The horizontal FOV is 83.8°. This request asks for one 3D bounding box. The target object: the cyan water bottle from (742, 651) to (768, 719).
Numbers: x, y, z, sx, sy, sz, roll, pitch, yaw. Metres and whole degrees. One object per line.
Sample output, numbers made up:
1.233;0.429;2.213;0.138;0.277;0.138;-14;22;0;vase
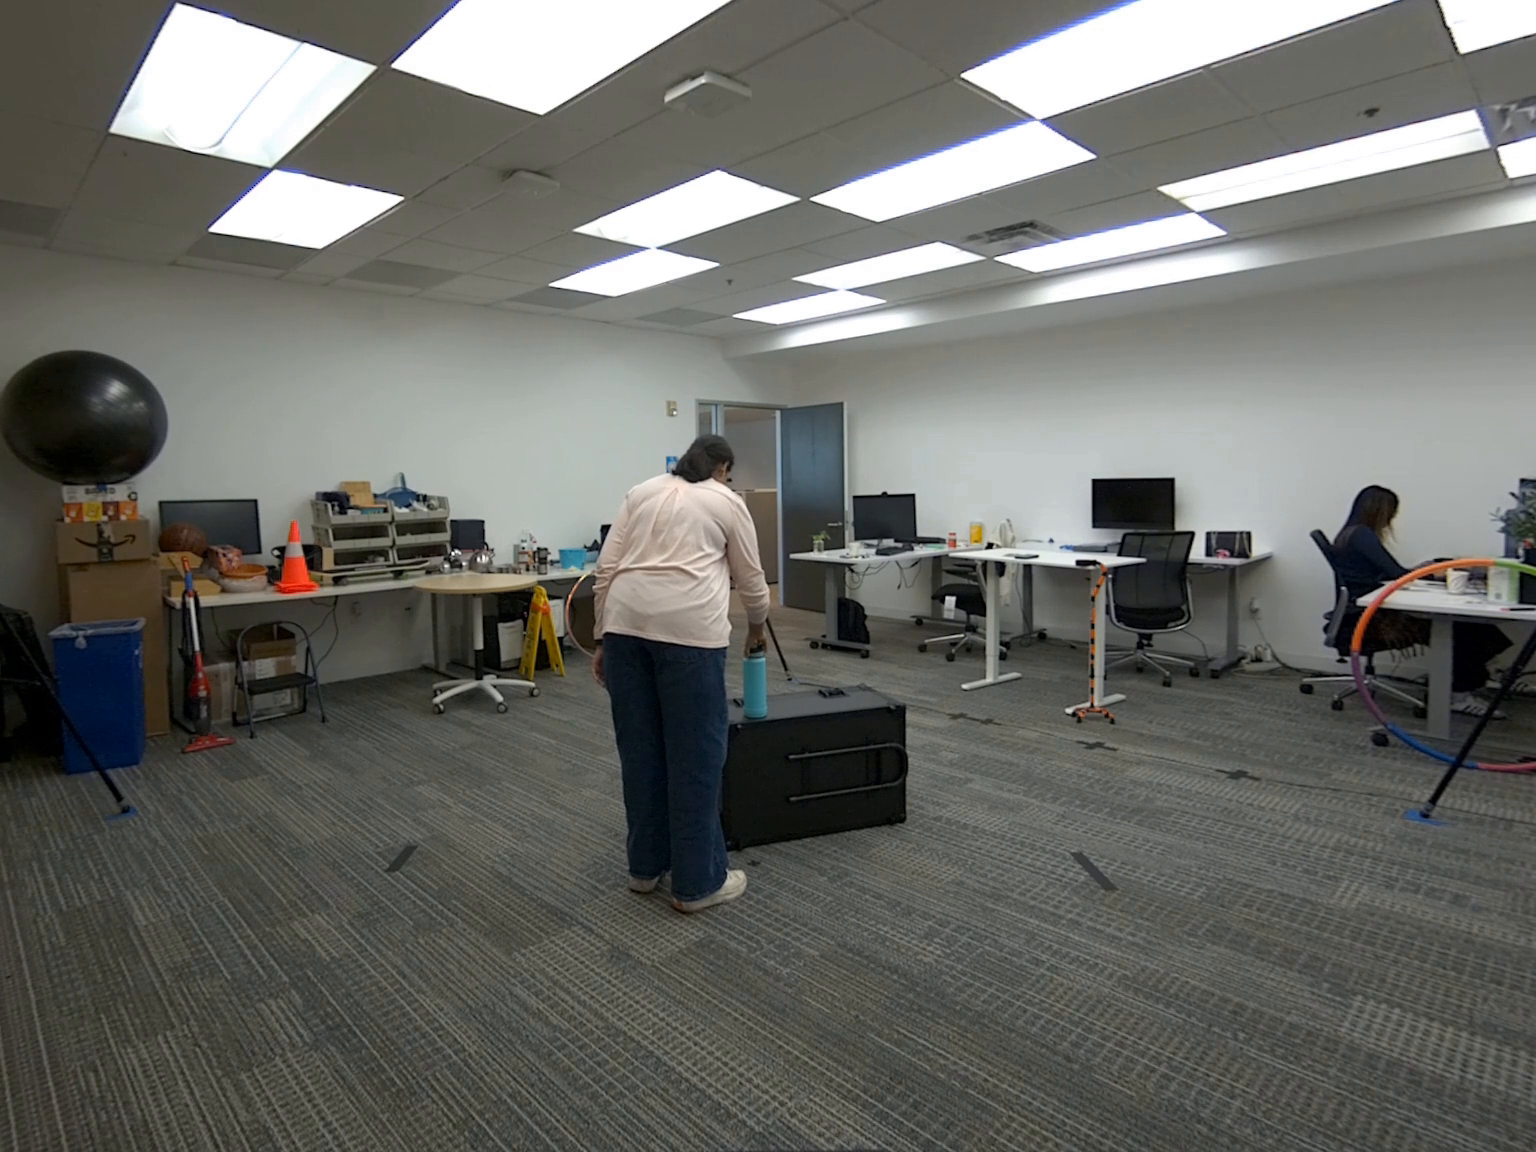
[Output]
-0.048;0.396;3.316;0.092;0.283;0.092;-1;2;-2;cyan water bottle
